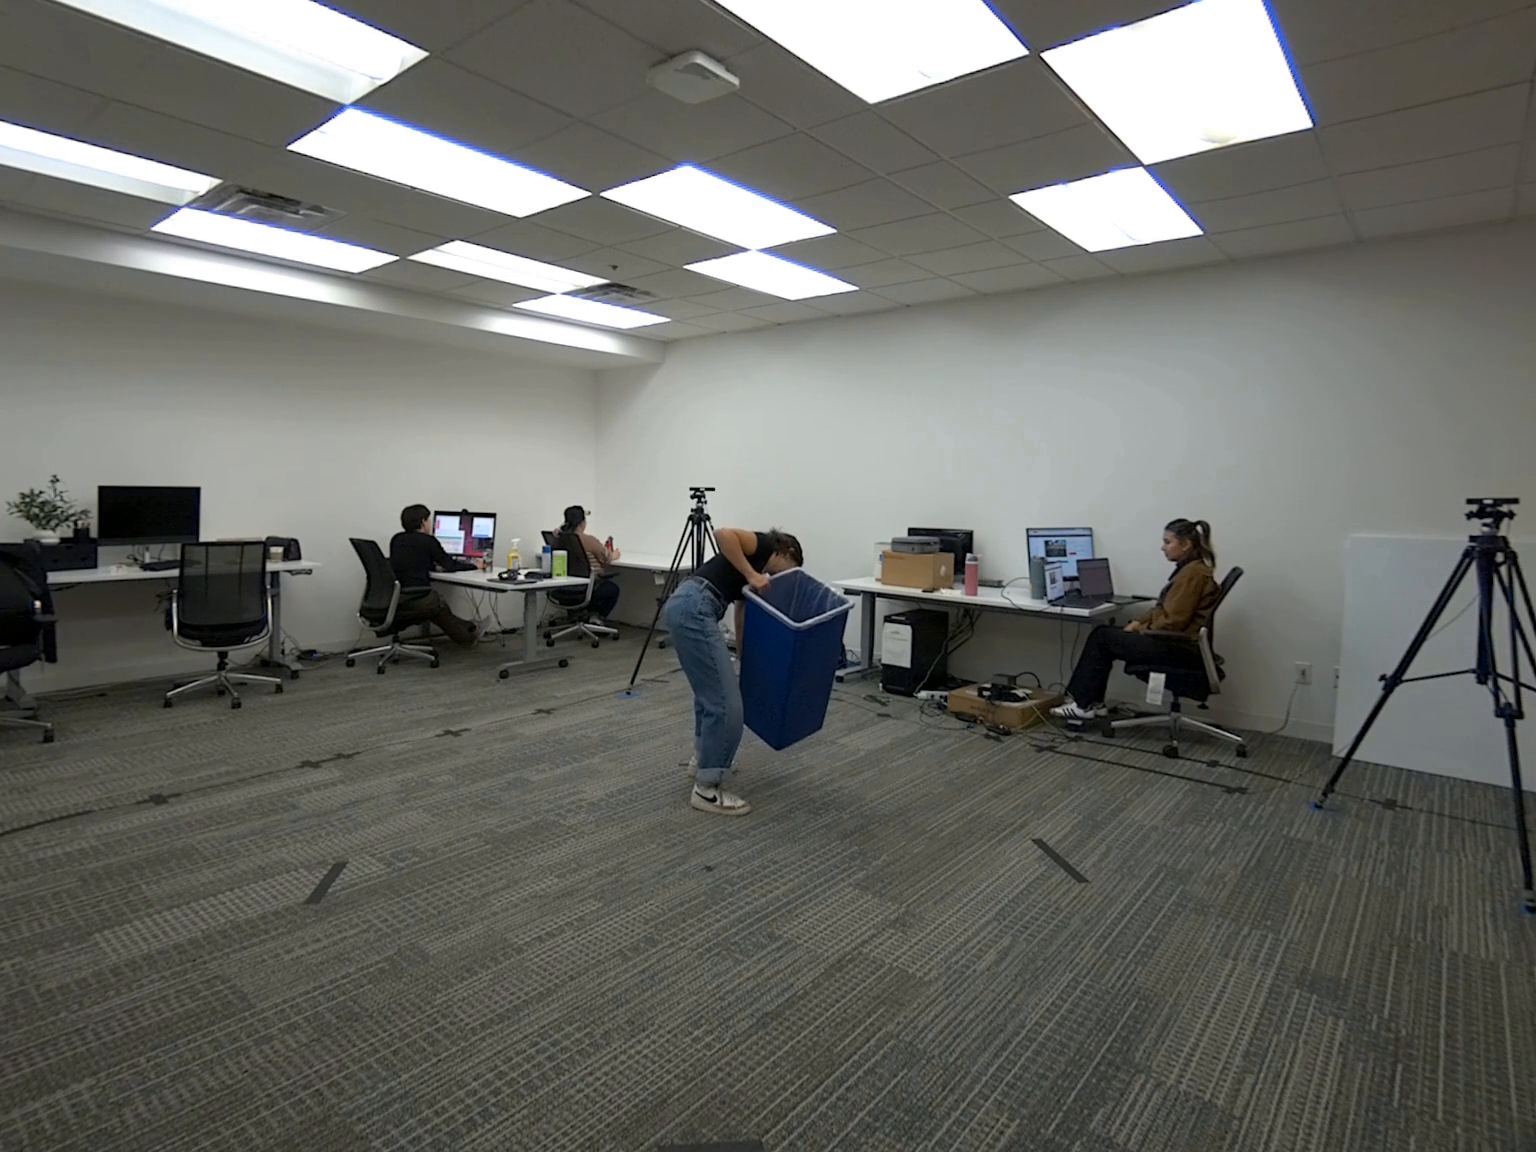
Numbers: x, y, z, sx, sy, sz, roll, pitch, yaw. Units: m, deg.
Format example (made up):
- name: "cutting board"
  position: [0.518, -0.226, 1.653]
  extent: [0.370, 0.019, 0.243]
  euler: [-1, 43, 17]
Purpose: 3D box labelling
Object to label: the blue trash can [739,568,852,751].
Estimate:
- name: "blue trash can"
  position: [0.093, 0.392, 3.872]
  extent: [0.370, 0.699, 0.390]
  euler: [-18, 37, -38]
